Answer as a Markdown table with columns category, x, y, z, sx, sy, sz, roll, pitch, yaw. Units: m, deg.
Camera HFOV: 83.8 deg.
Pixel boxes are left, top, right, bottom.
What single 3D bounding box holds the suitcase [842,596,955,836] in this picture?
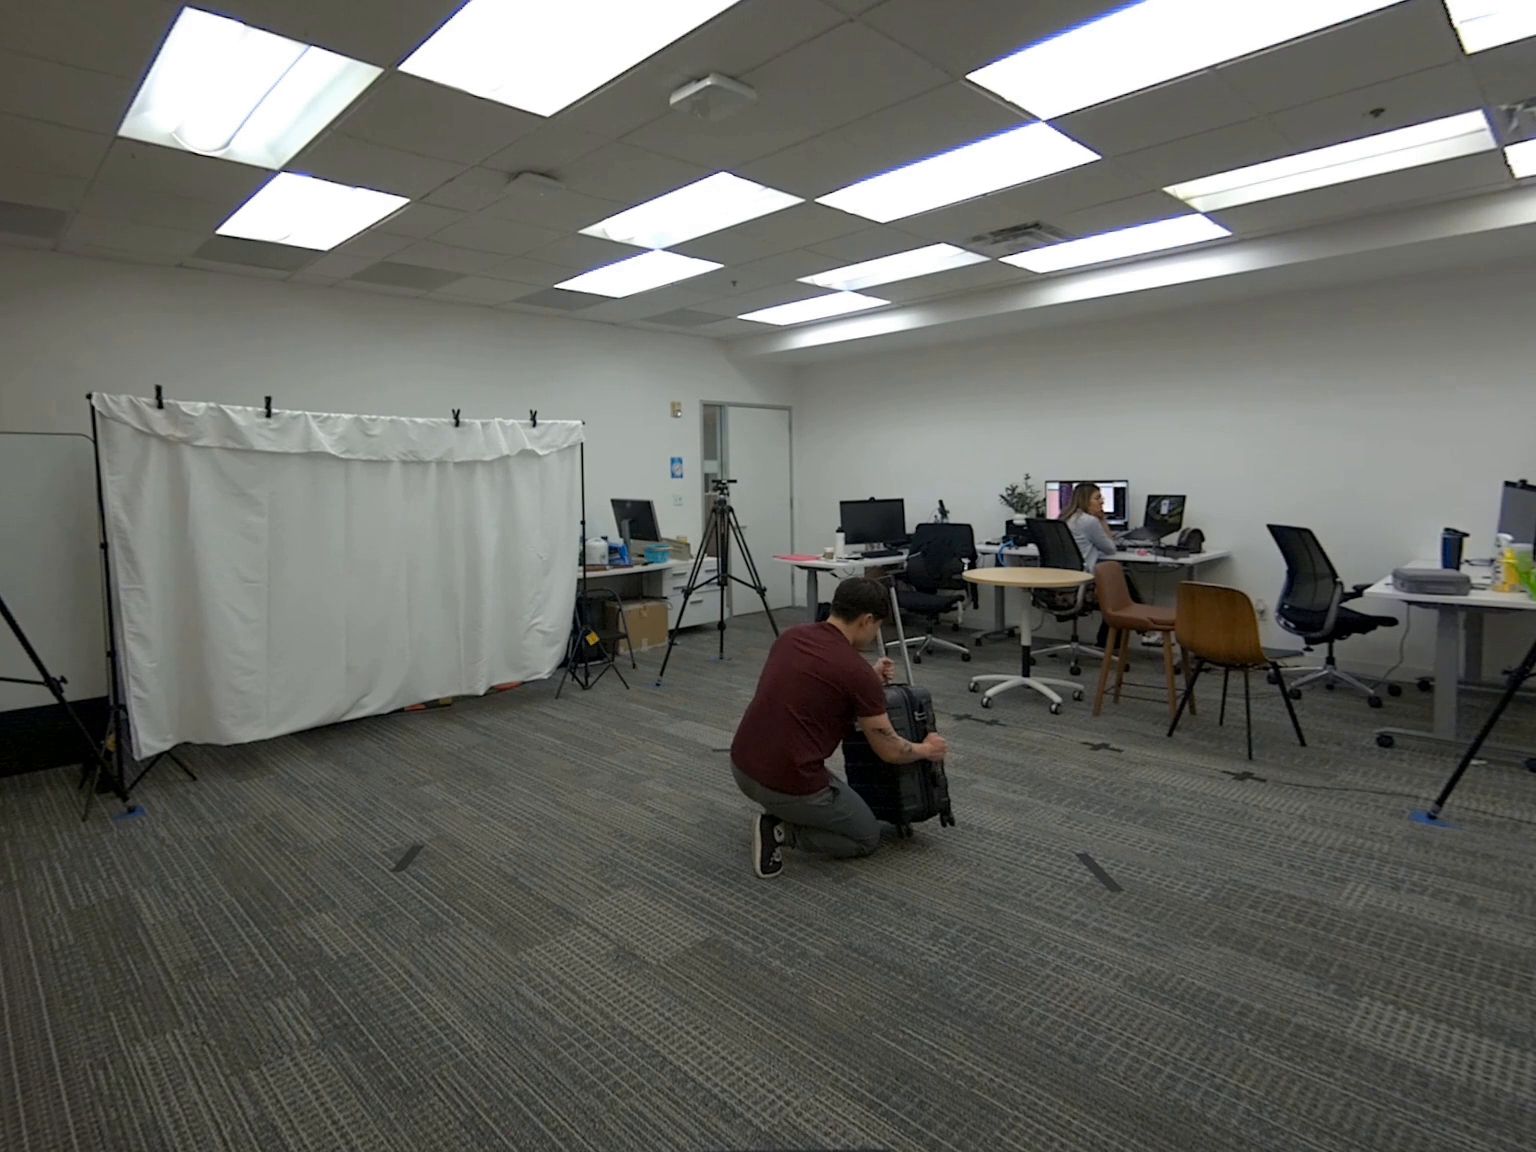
| category | x | y | z | sx | sy | sz | roll | pitch | yaw |
| --- | --- | --- | --- | --- | --- | --- | --- | --- | --- |
| suitcase | 0.453 | 0.501 | 3.381 | 0.251 | 0.990 | 0.389 | -3 | -12 | -31 |
